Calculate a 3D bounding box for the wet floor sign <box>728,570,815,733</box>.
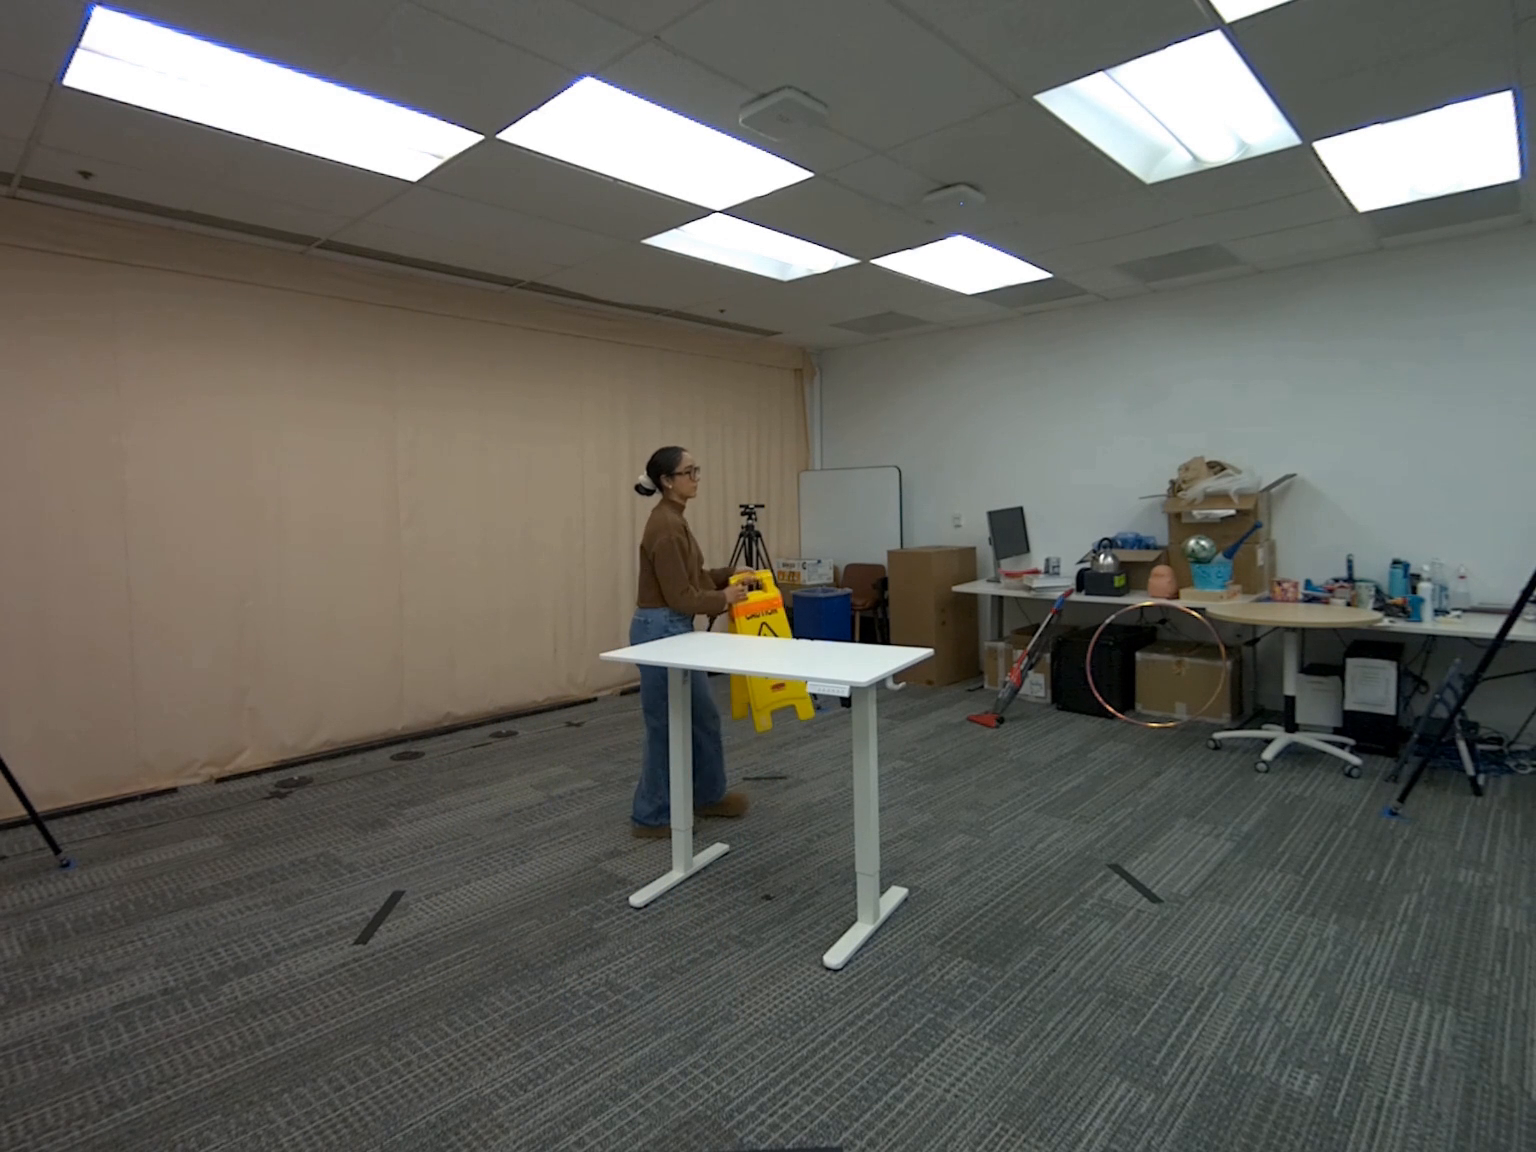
[{"bbox_3d":[-0.035,0.306,3.662,0.277,0.644,0.296,-10,3,-23],"label":"wet floor sign"}]
